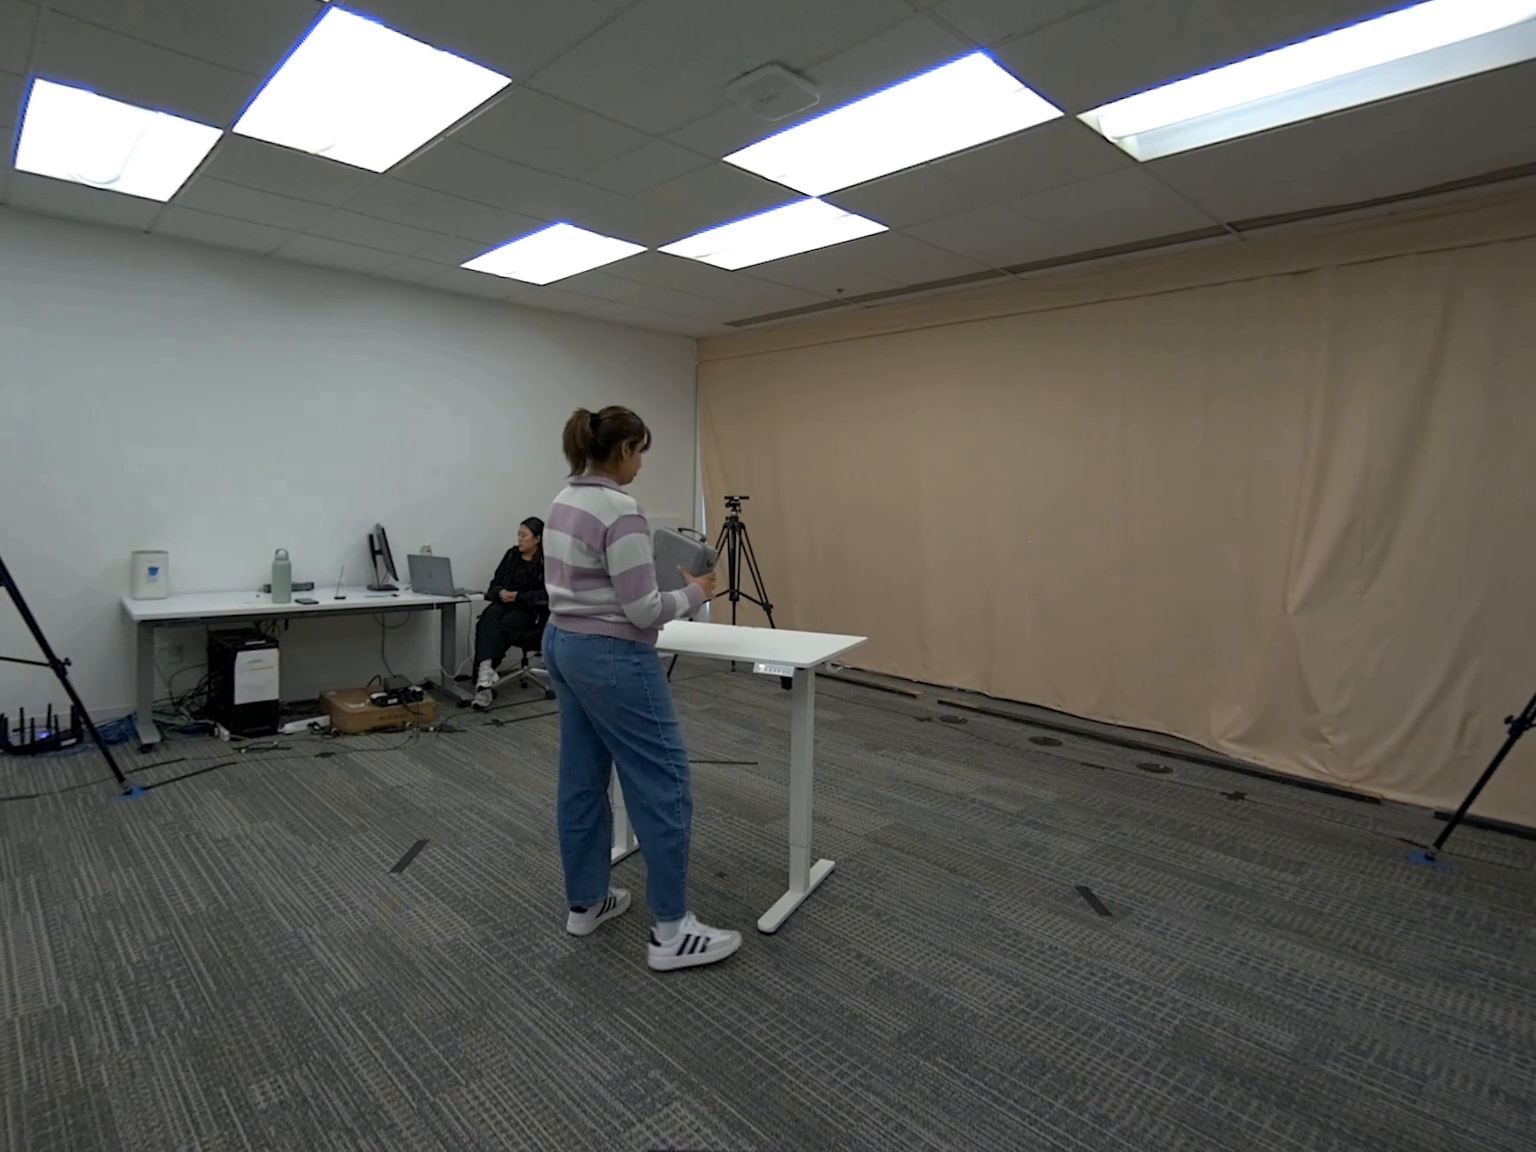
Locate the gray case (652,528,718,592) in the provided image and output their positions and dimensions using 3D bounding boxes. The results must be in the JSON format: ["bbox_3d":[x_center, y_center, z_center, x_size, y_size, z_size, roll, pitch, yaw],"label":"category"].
[{"bbox_3d":[-0.313,-0.018,2.830,0.265,0.260,0.101,26,8,40],"label":"gray case"}]
